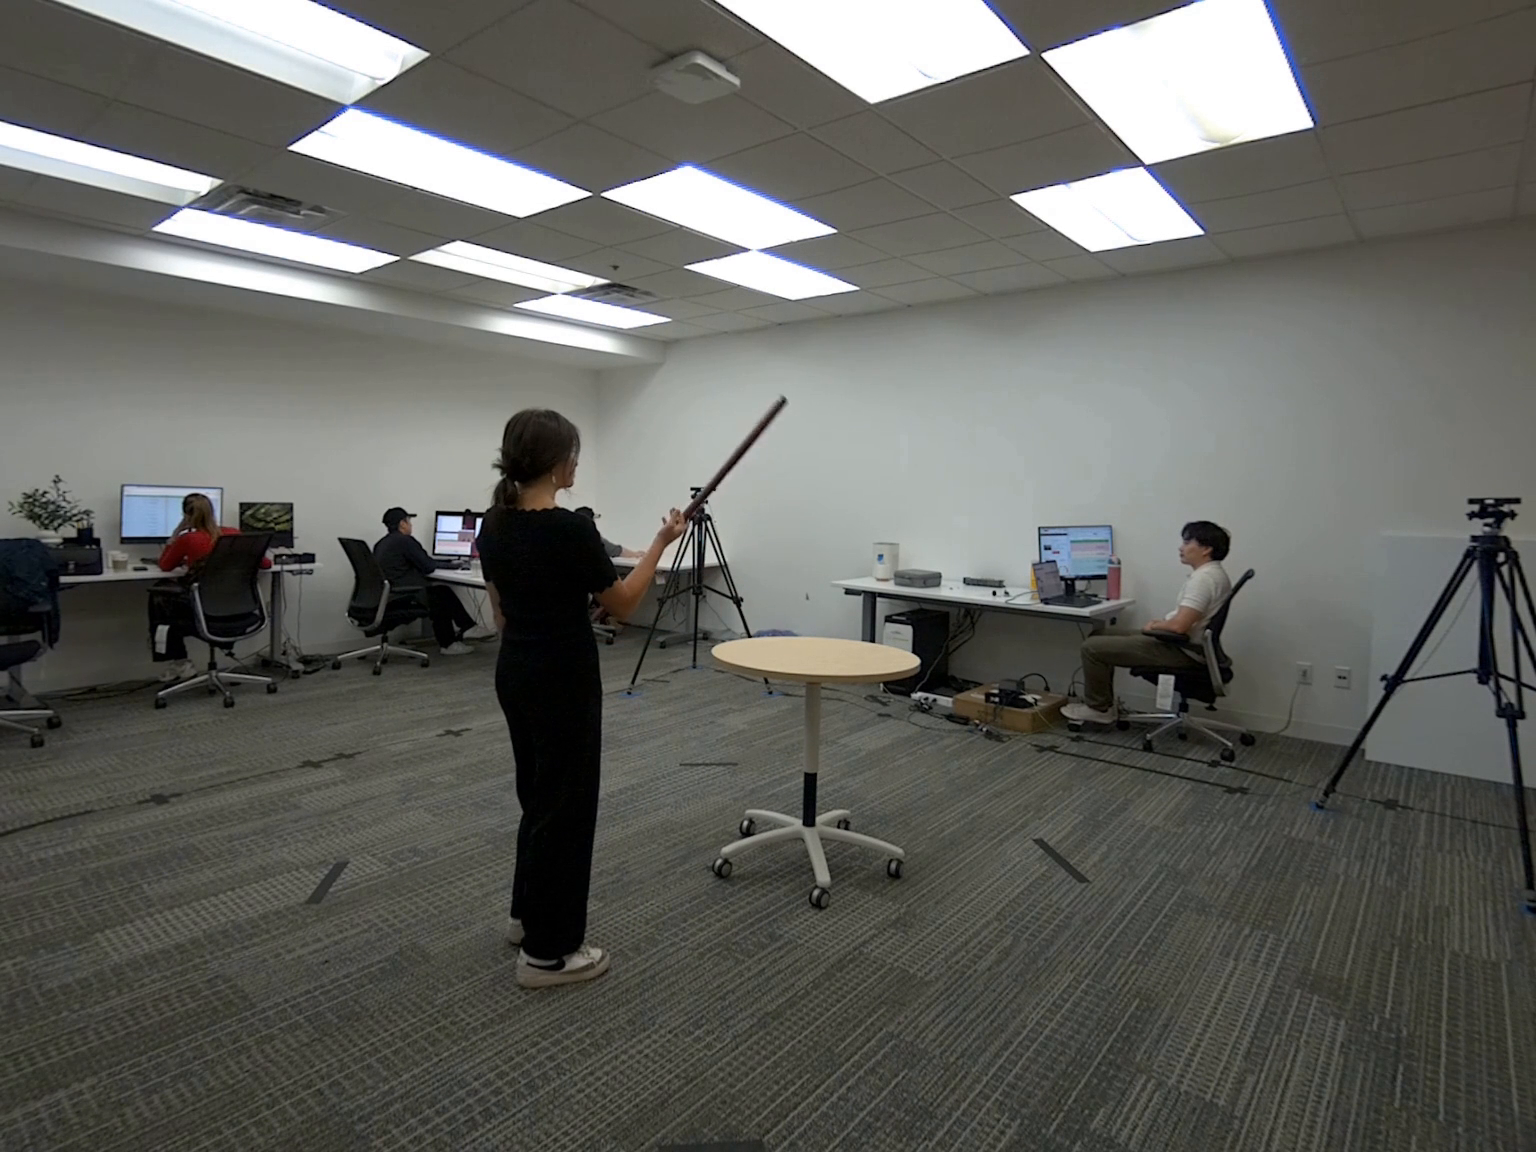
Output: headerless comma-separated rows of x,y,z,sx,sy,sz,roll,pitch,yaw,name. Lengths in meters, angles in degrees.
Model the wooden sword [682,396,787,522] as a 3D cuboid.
-0.285,-0.148,2.562,0.049,1.025,0.025,29,28,-30,wooden sword
